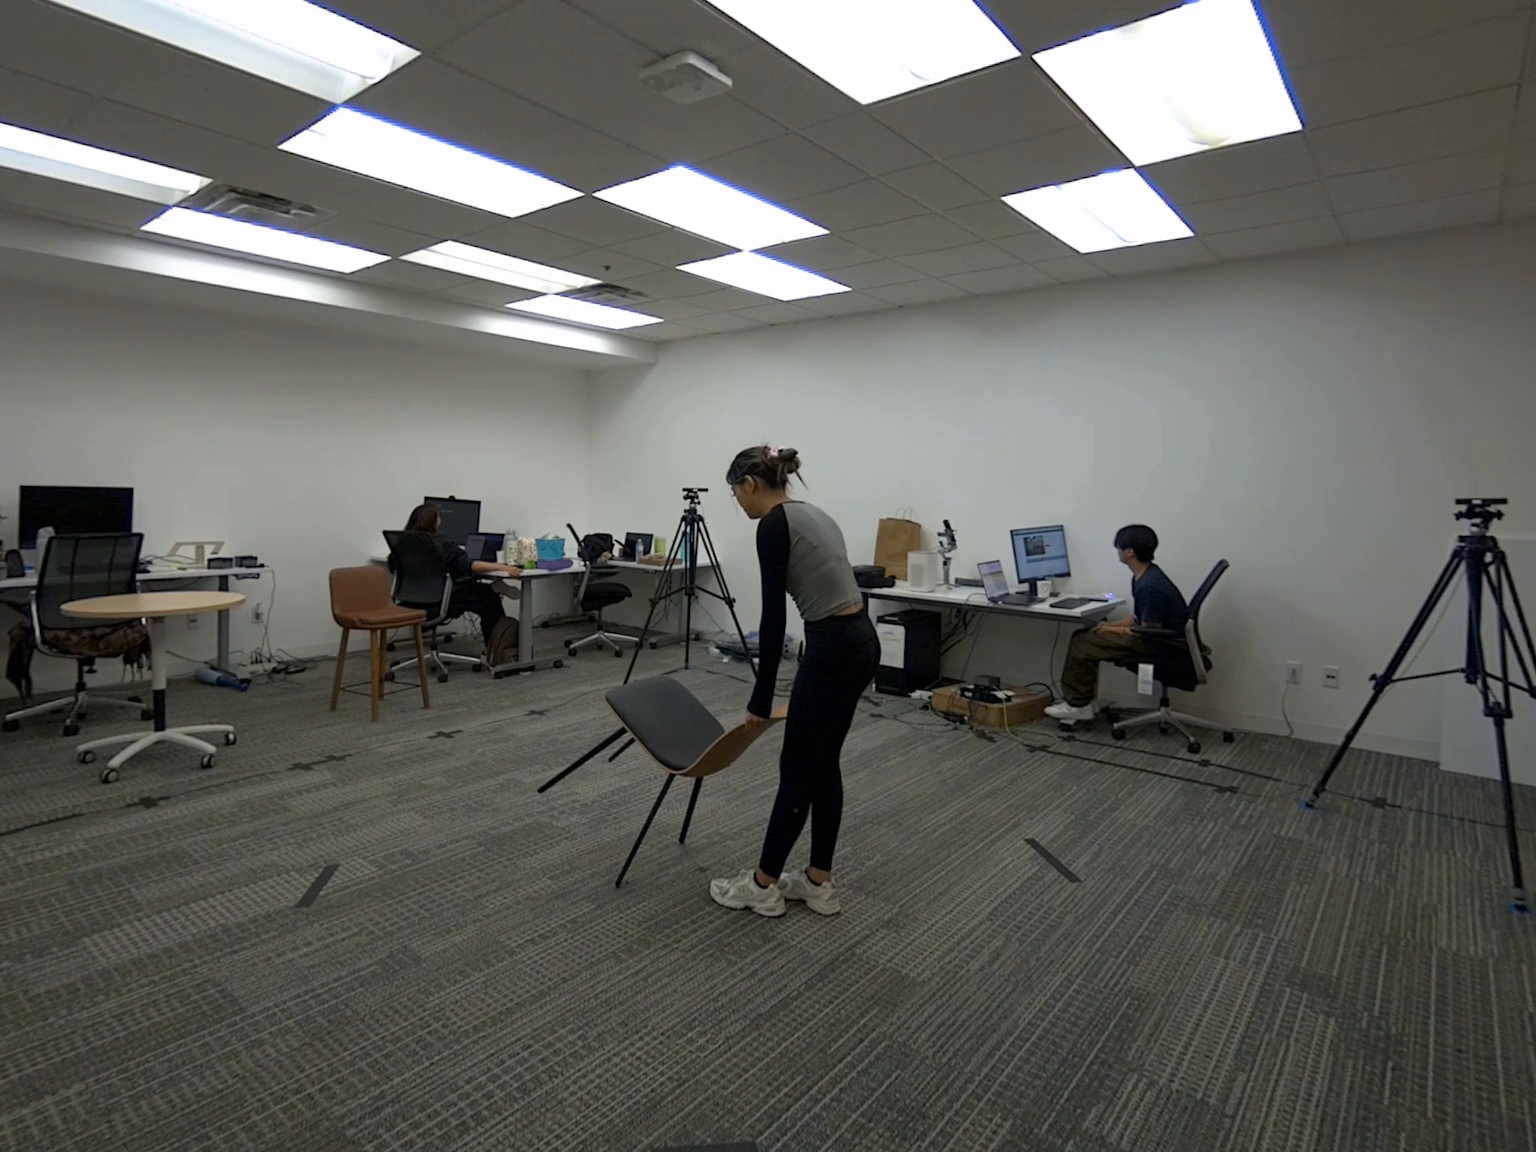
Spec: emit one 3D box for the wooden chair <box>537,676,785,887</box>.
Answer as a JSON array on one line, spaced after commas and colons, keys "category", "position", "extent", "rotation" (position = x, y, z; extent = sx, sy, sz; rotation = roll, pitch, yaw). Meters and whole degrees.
[{"category": "wooden chair", "position": [-0.360, 0.589, 3.083], "extent": [0.537, 0.876, 0.466], "rotation": [48, 22, 18]}]
